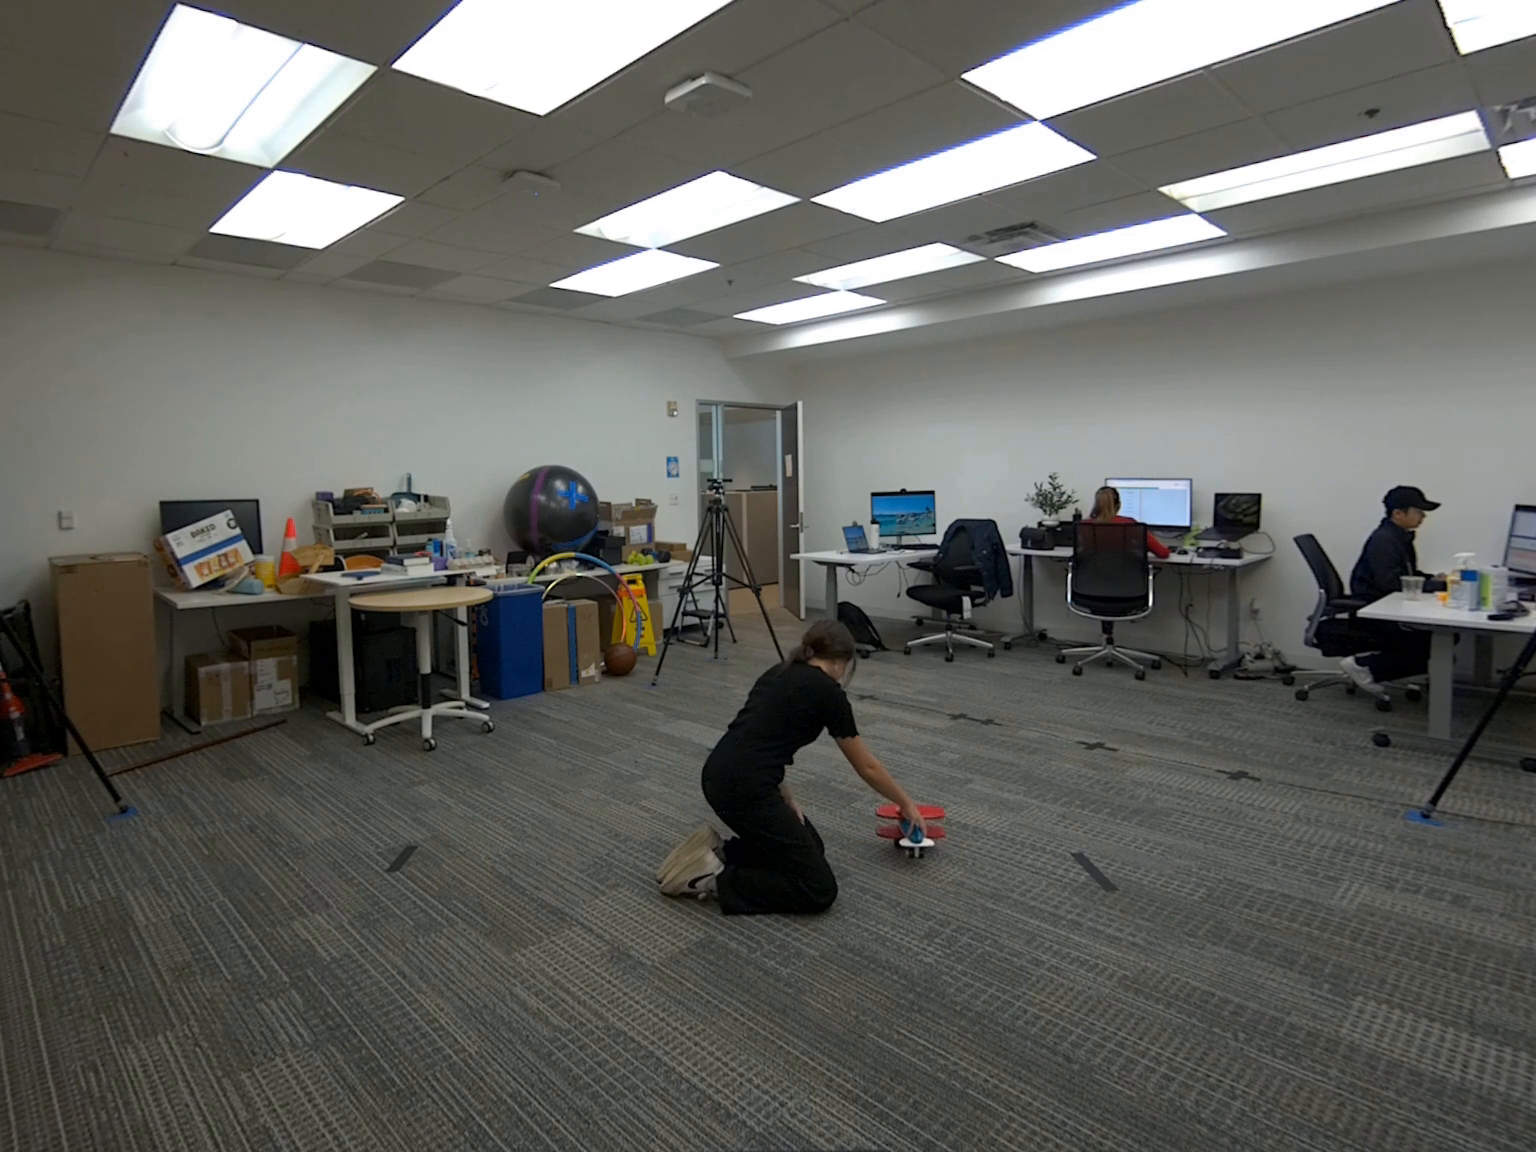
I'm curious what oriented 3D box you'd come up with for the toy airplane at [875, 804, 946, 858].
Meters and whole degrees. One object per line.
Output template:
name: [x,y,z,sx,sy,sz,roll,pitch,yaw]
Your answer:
toy airplane: [0.551,0.943,3.156,0.245,0.157,0.264,2,-6,-25]
